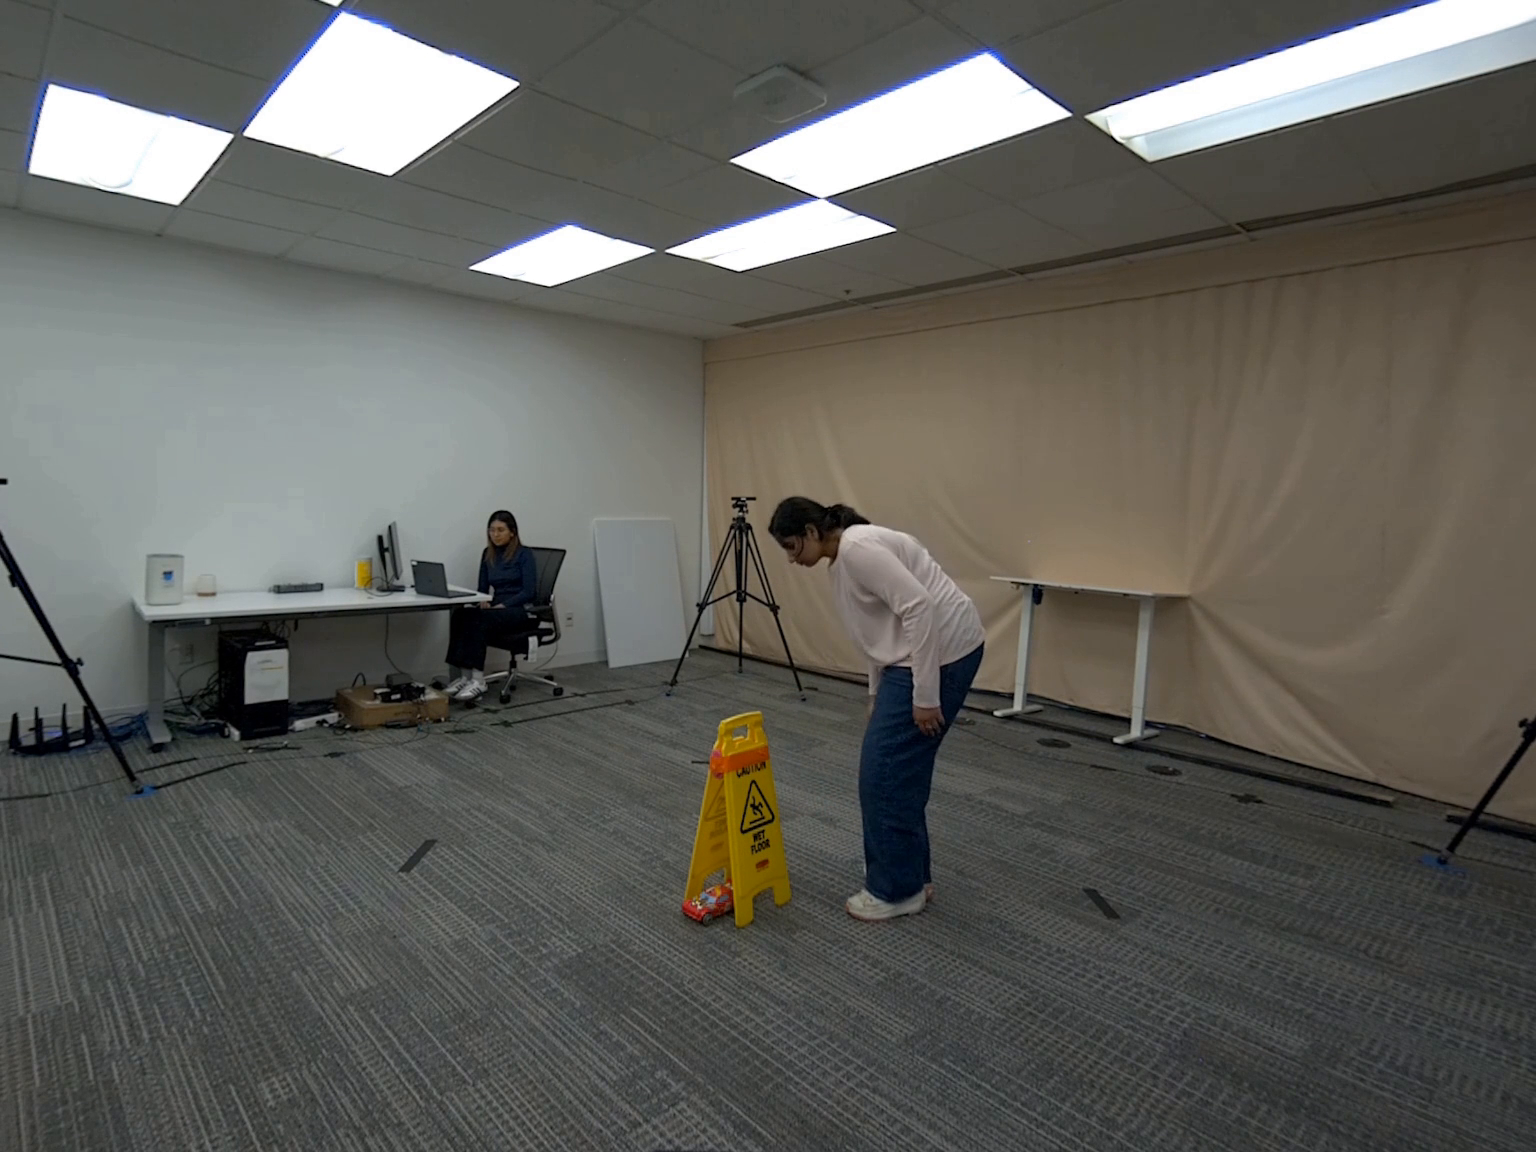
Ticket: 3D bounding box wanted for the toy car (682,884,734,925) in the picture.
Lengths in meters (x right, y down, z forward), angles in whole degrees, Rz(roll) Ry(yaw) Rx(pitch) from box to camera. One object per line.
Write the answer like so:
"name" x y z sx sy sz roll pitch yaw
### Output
"toy car" -0.176 1.096 2.842 0.250 0.082 0.133 -16 14 -41
